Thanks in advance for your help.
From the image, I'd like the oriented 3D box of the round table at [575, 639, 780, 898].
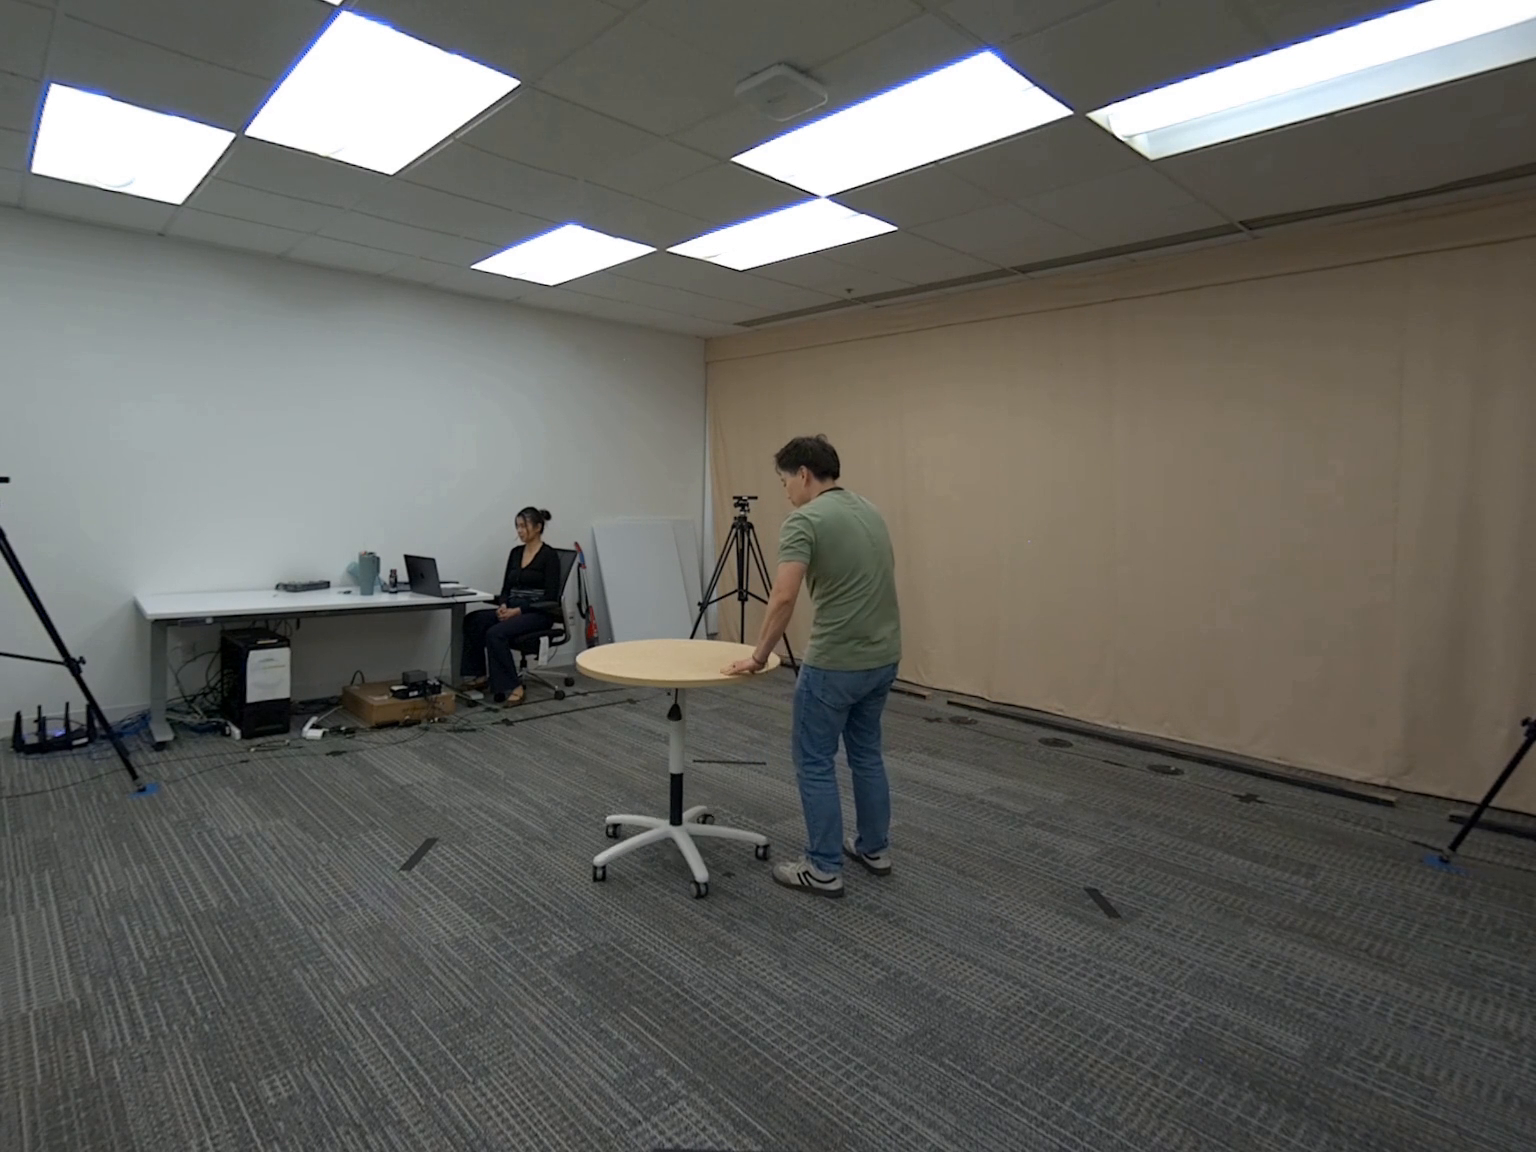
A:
[{"bbox_3d":[-0.345,0.698,3.200,0.763,0.791,0.767,1,5,-1],"label":"round table"}]
